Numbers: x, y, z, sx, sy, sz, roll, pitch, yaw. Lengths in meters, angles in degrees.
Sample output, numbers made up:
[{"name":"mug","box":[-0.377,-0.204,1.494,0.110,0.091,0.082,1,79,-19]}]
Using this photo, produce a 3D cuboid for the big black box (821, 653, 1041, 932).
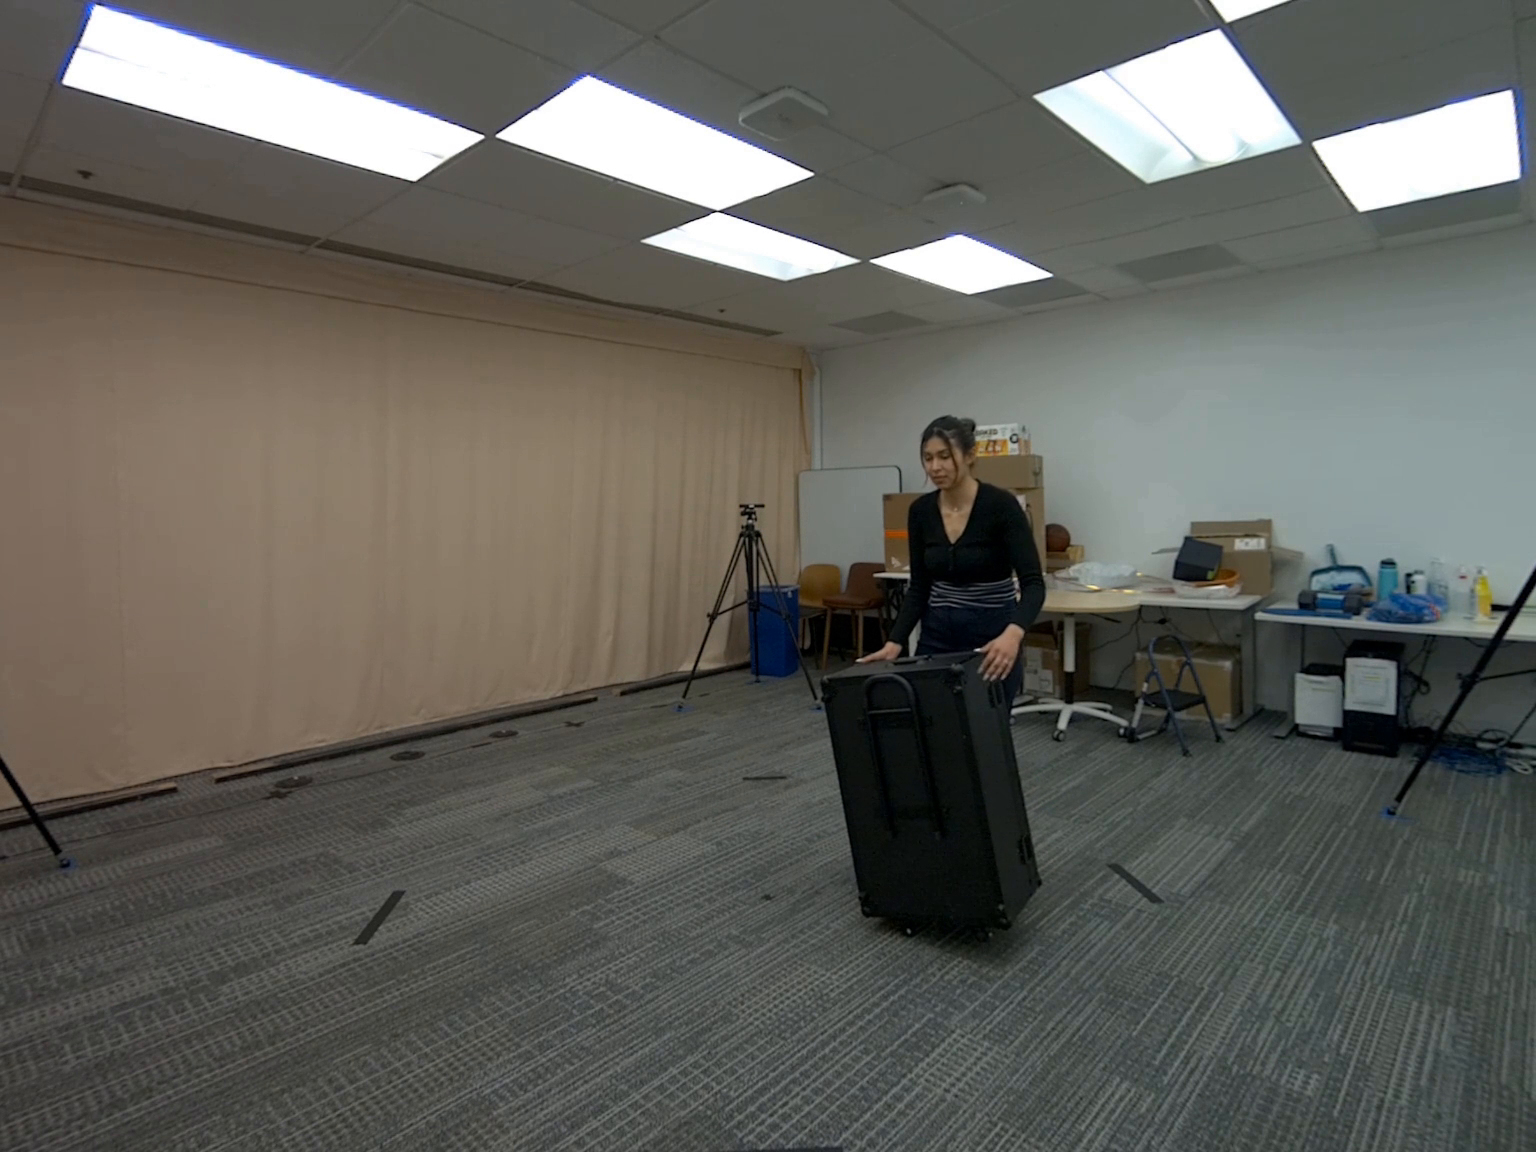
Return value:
[{"name":"big black box","box":[0.538,0.708,2.750,0.535,0.863,0.385,-13,-3,36]}]
